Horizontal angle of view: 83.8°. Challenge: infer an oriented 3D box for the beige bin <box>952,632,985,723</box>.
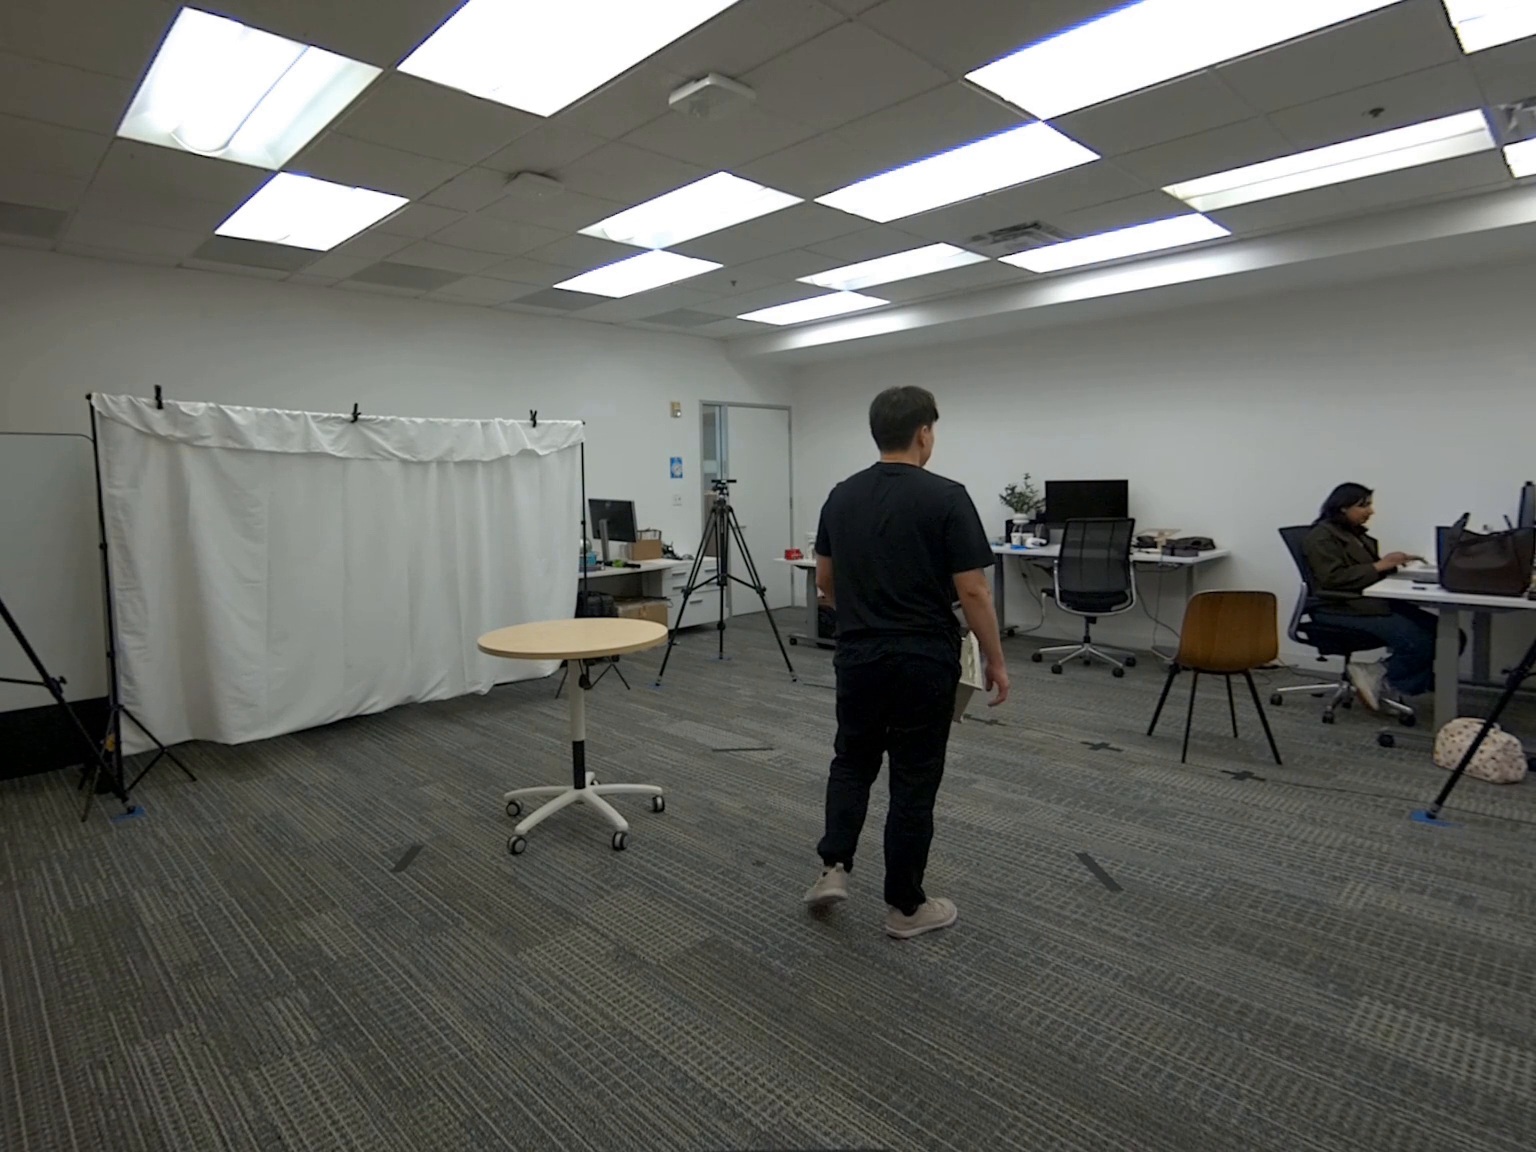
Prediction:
[{"bbox_3d":[0.516,0.286,3.051,0.424,0.186,0.383,15,31,2],"label":"beige bin"}]
